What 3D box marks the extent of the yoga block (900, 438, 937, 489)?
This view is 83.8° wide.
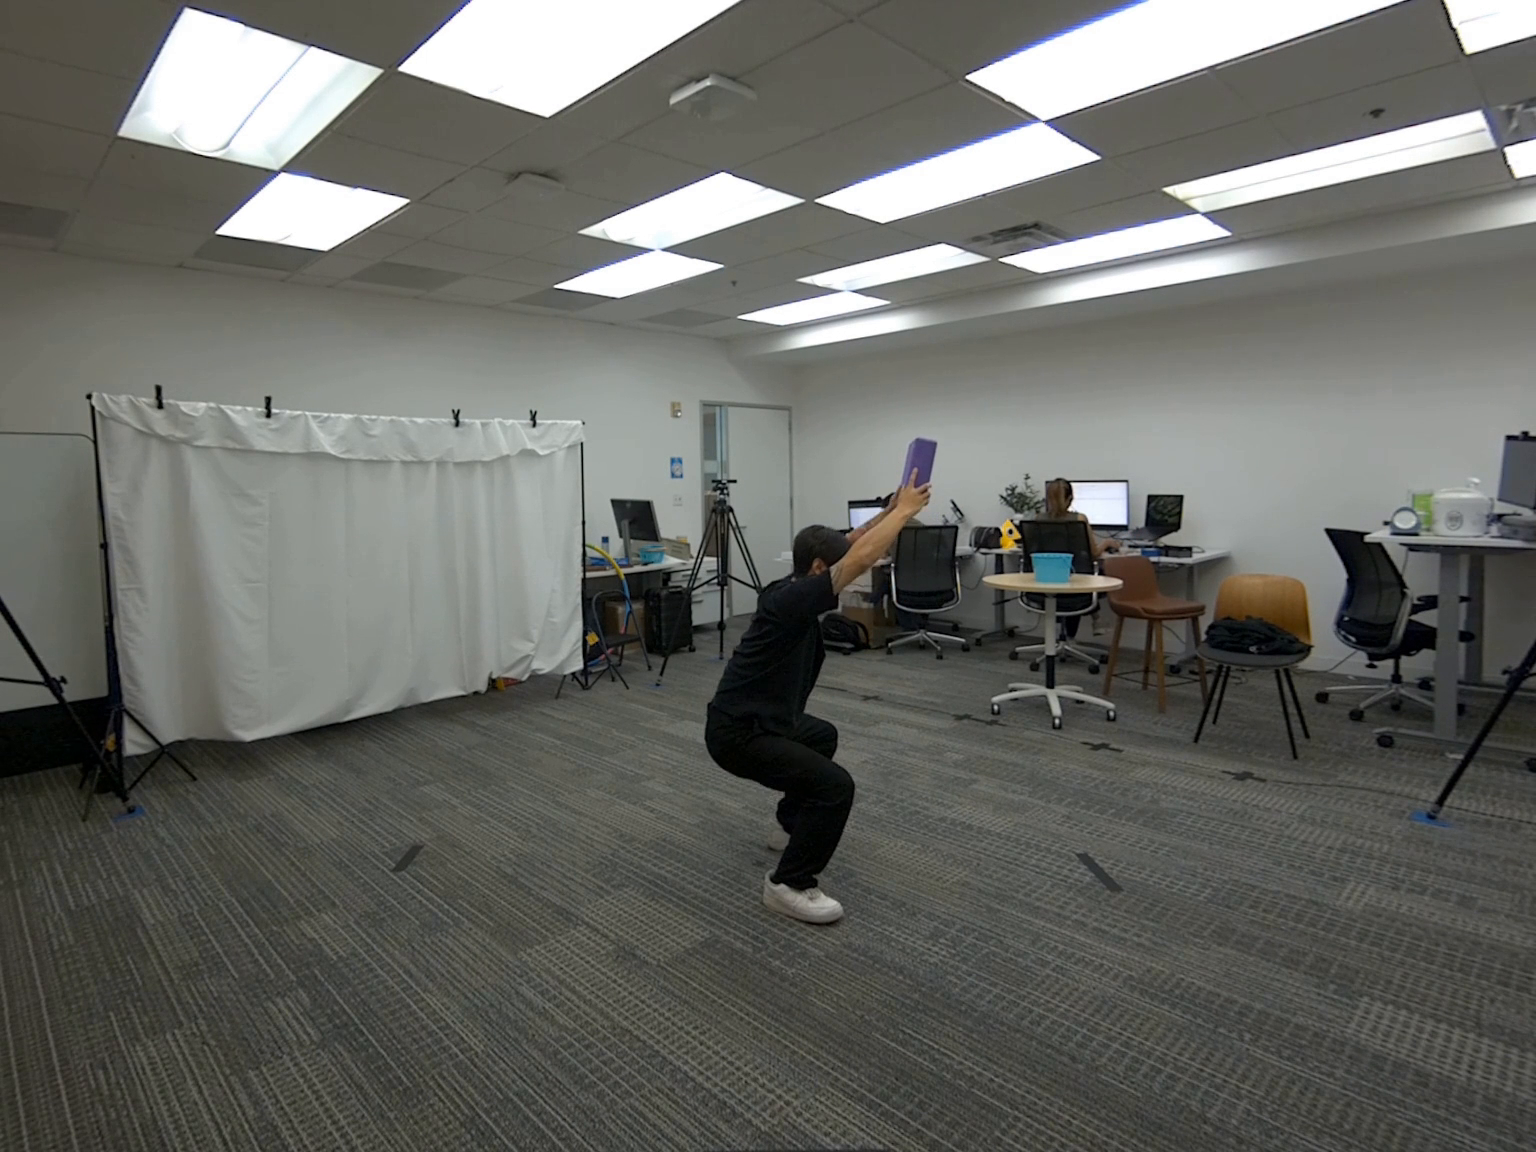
[{"bbox_3d":[0.526,-0.359,2.971,0.077,0.230,0.148,8,-3,4],"label":"yoga block"}]
